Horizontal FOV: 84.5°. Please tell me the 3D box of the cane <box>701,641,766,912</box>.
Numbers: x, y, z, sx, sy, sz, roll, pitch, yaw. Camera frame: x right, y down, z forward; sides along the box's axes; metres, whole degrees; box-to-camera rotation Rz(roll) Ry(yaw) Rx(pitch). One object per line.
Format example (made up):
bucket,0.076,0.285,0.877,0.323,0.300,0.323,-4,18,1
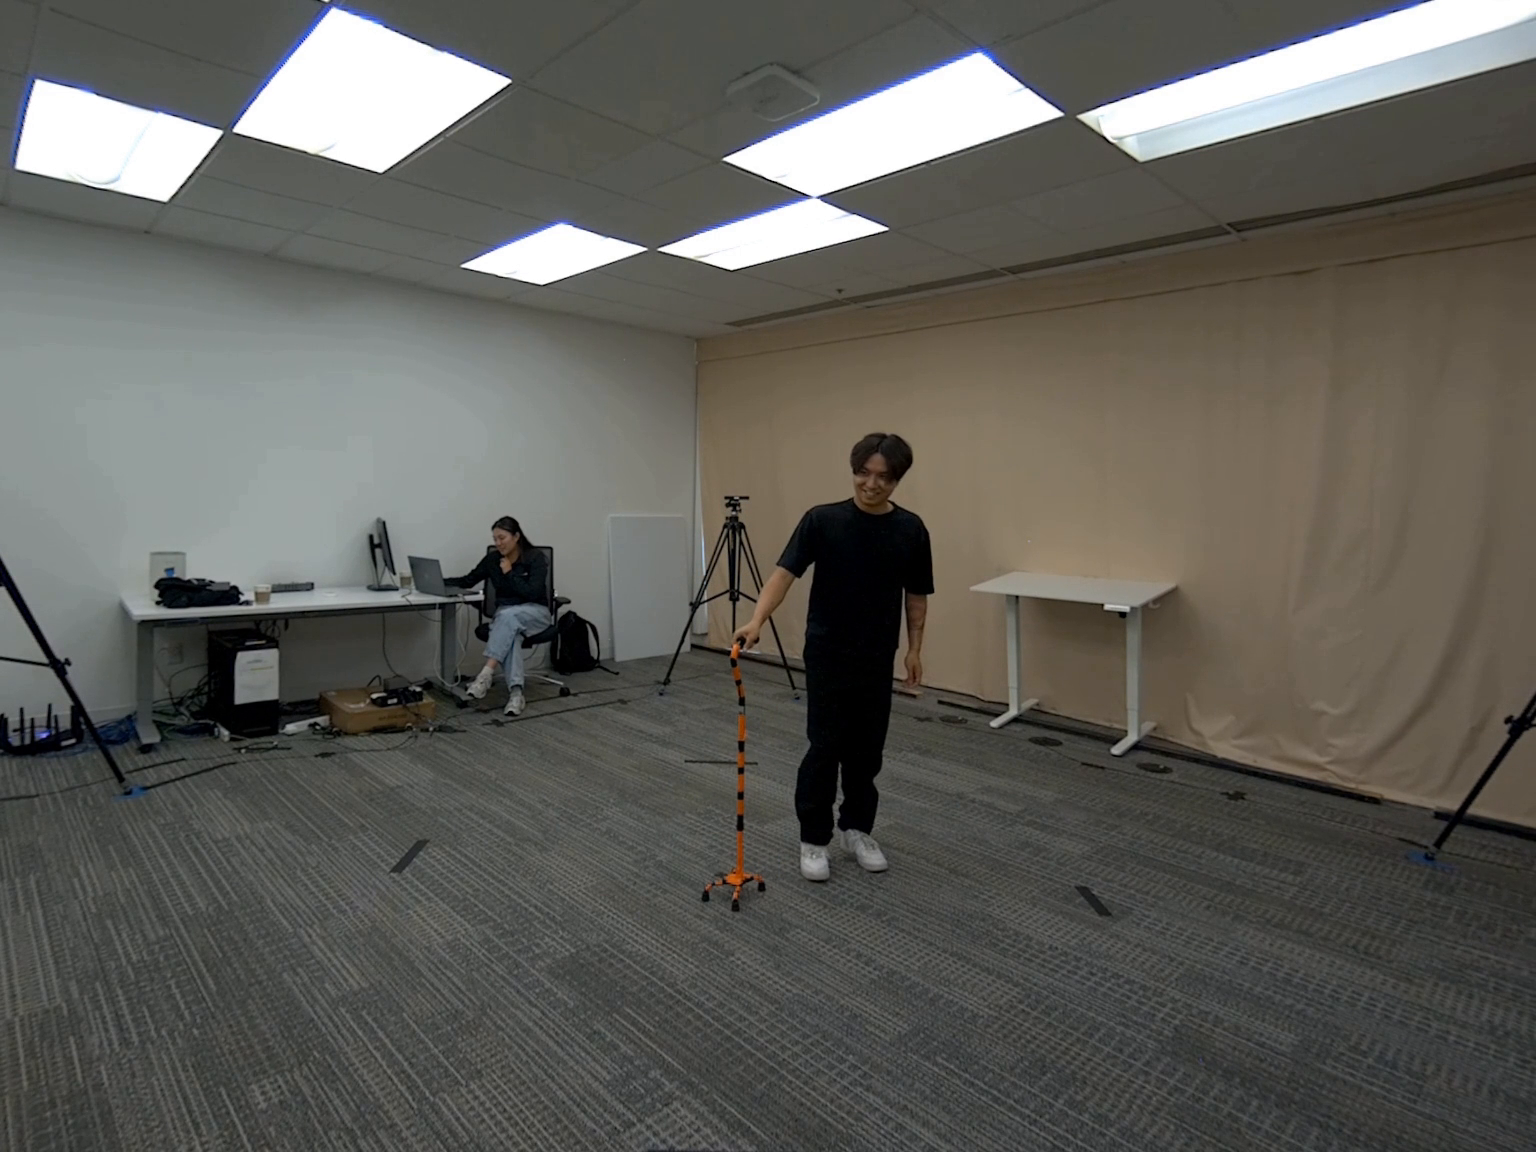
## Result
cane,-0.115,0.670,2.929,0.155,0.906,0.202,3,3,29
